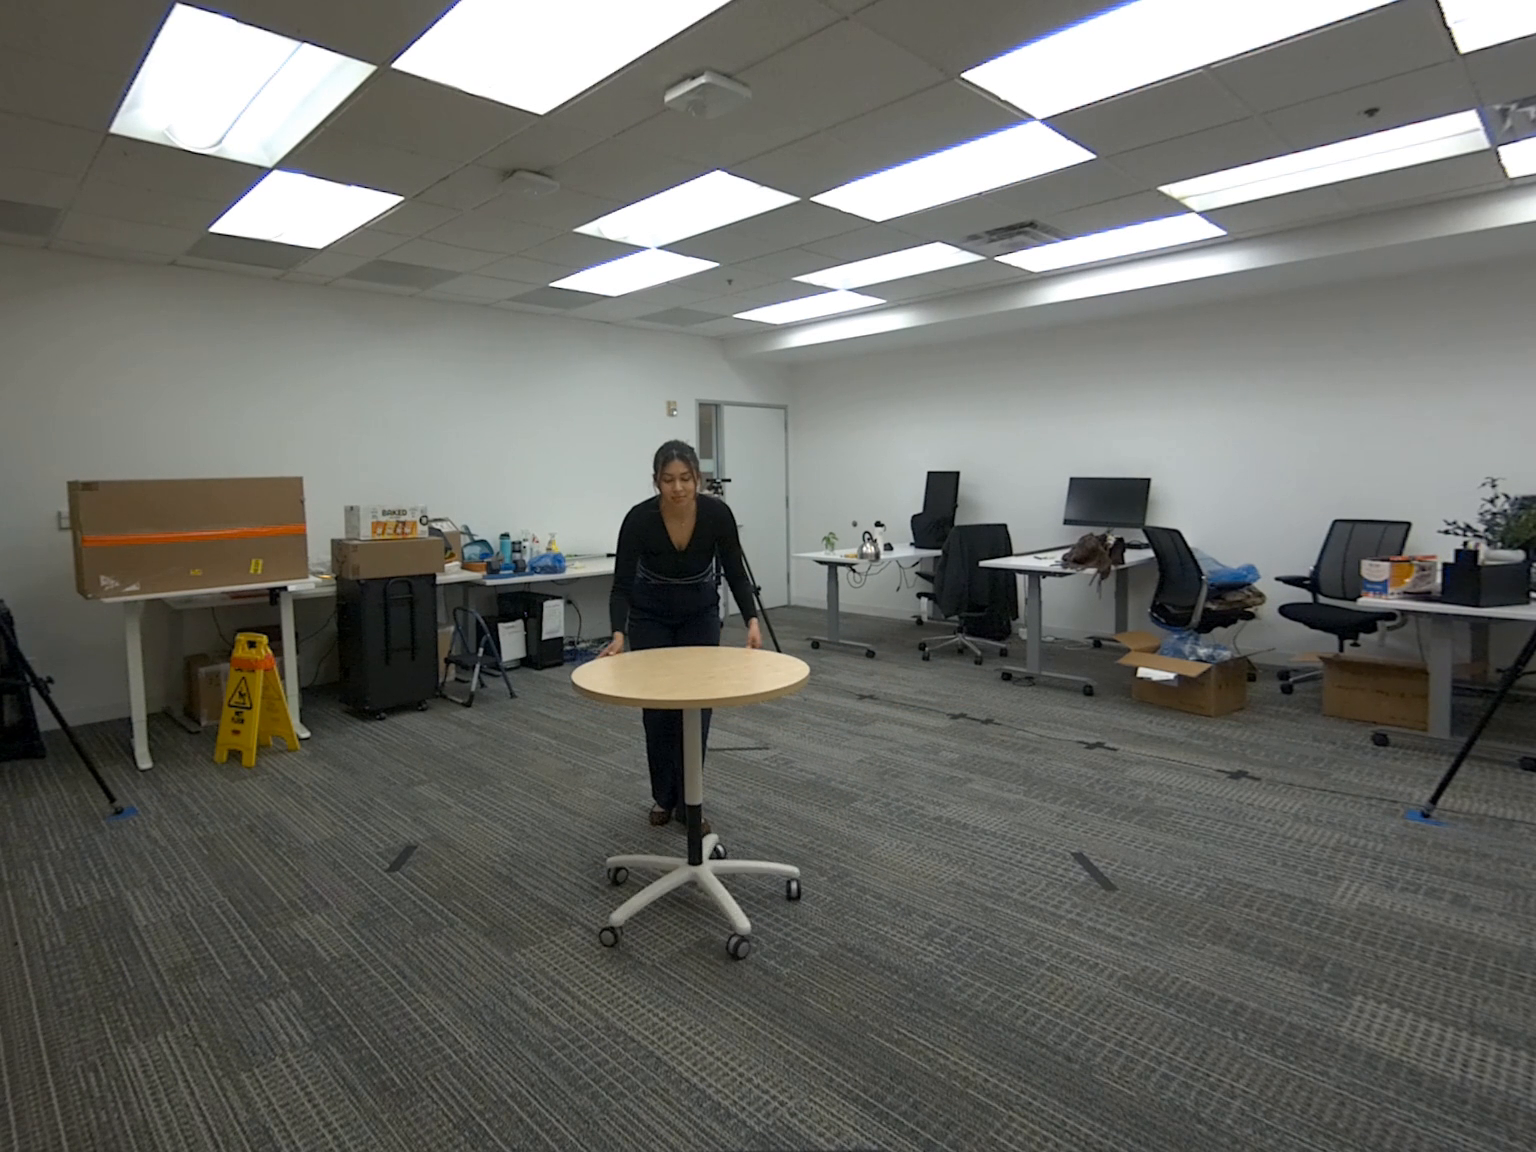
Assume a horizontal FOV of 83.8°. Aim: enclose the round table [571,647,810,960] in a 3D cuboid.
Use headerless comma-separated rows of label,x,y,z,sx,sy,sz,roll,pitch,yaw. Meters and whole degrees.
round table,-0.241,0.695,2.788,0.763,0.791,0.768,-1,5,-2
